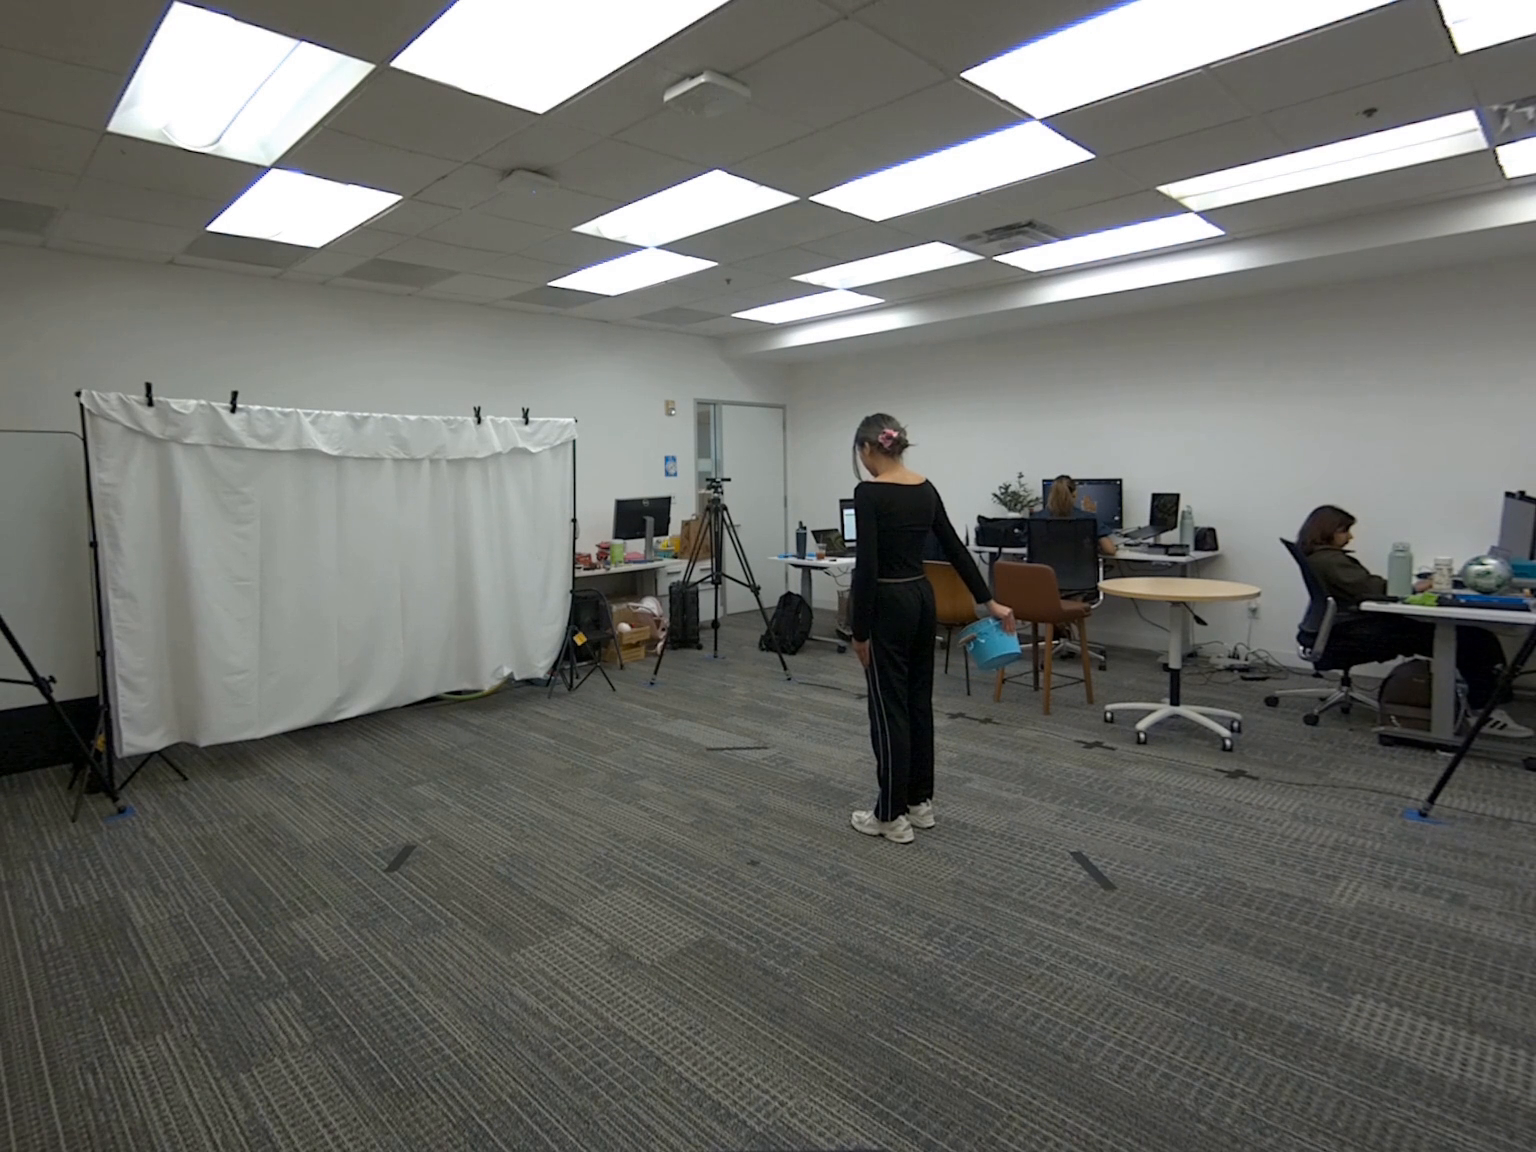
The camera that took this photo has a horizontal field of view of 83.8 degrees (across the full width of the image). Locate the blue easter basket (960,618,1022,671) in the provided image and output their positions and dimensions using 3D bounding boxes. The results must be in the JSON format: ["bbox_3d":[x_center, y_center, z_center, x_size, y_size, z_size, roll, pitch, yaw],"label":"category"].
[{"bbox_3d":[0.904,0.282,3.501,0.242,0.160,0.238,-10,-24,-6],"label":"blue easter basket"}]
